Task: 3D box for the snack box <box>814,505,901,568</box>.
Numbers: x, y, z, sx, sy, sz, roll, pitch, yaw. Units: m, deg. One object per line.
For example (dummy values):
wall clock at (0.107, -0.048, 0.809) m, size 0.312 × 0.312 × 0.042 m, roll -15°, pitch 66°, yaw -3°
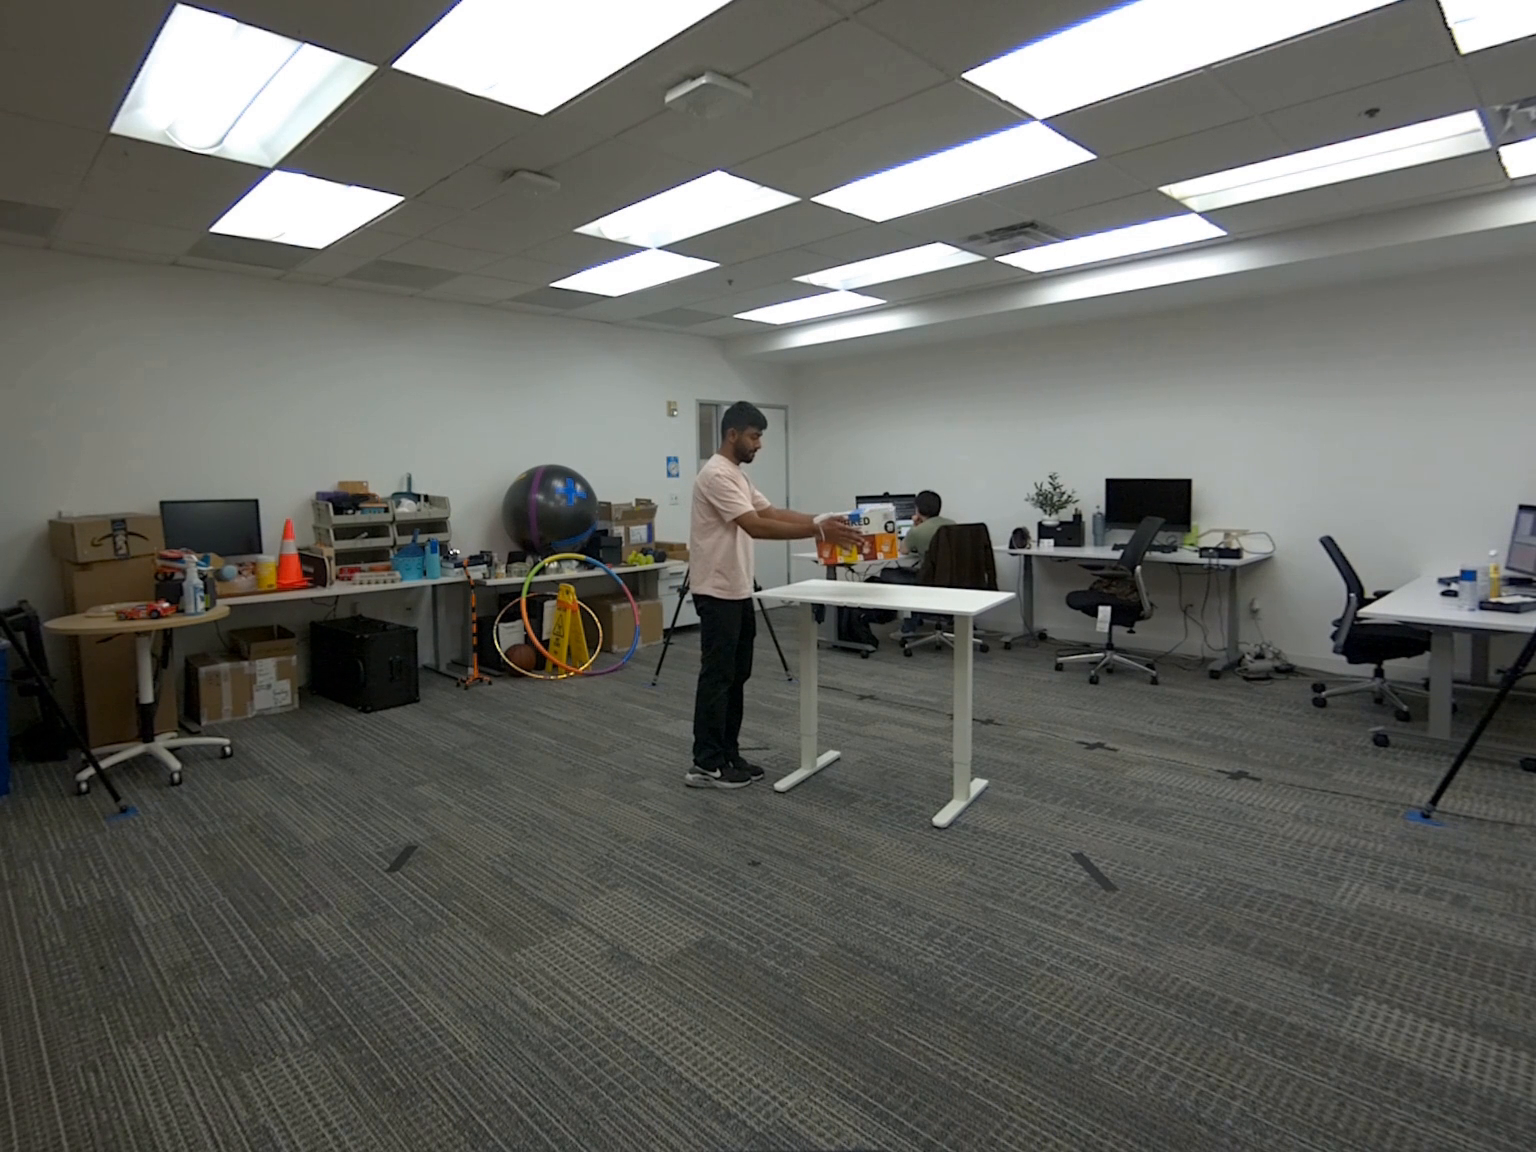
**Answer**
snack box at (0.397, -0.184, 3.789) m, size 0.344 × 0.205 × 0.403 m, roll -7°, pitch 5°, yaw 11°
